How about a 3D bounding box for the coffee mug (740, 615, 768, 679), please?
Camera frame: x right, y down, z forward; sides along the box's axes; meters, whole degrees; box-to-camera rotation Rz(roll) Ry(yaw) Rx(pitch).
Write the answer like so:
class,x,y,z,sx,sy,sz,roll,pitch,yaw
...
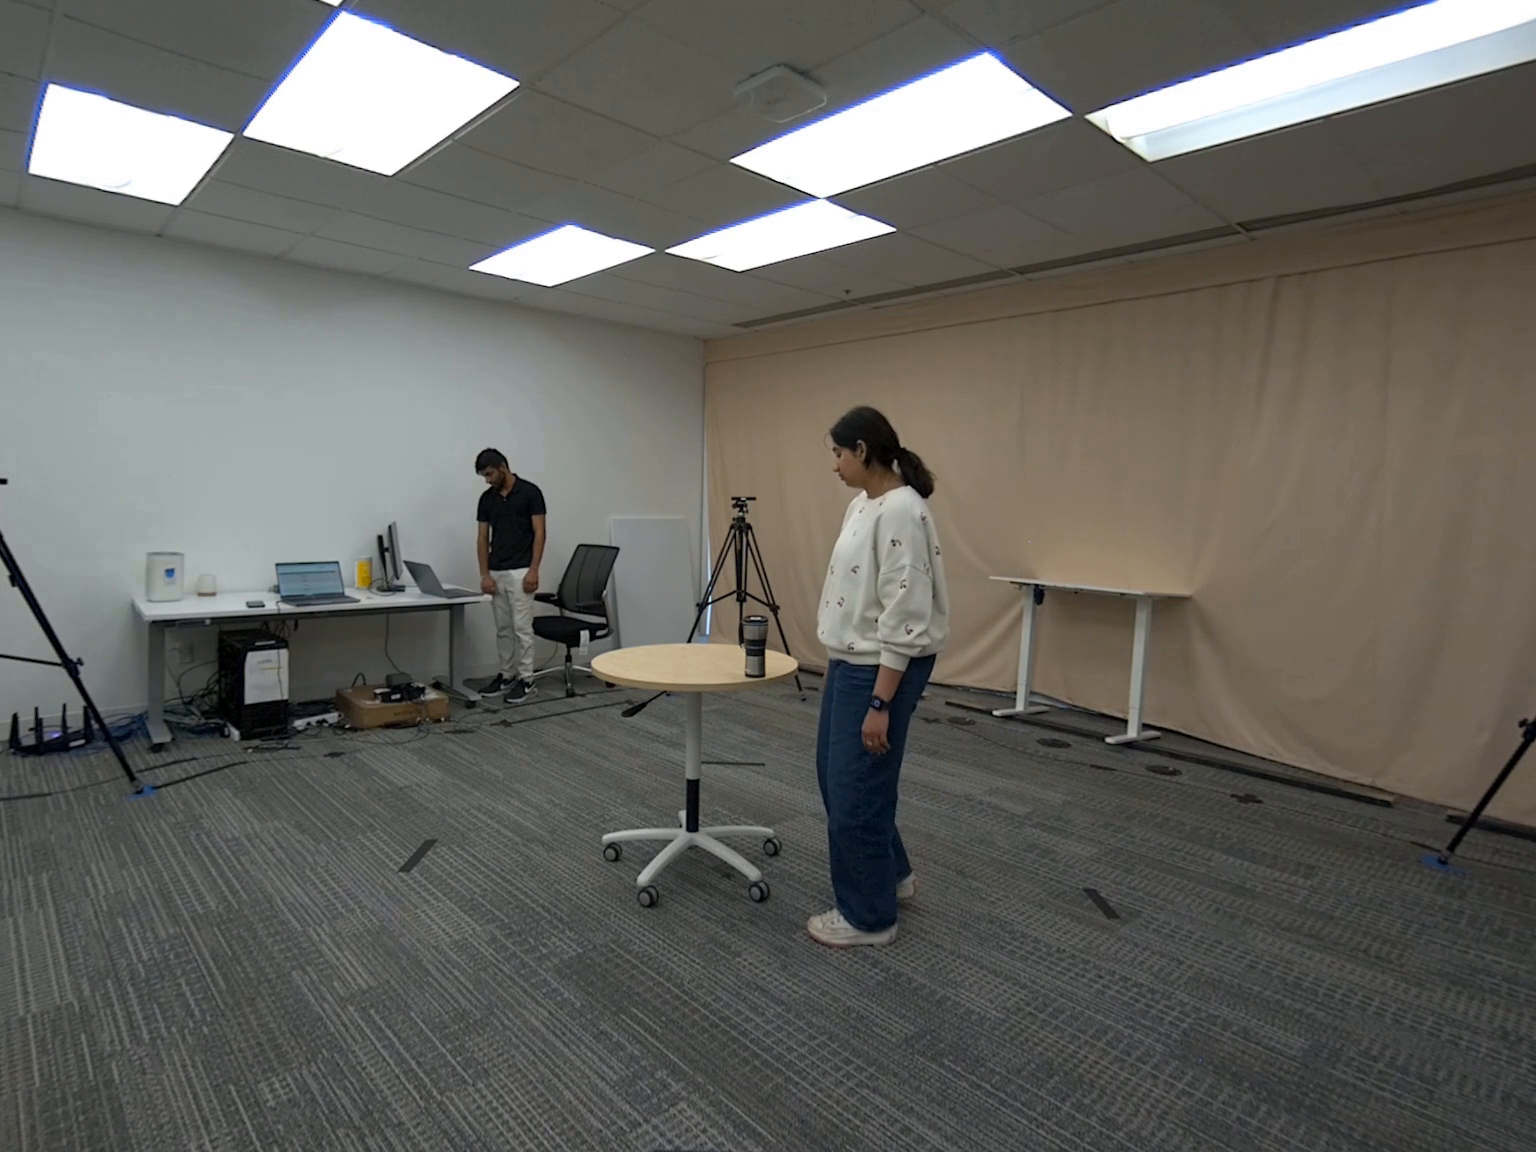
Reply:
class,x,y,z,sx,sy,sz,roll,pitch,yaw
coffee mug,-0.052,0.240,2.904,0.086,0.202,0.124,-2,7,-21
